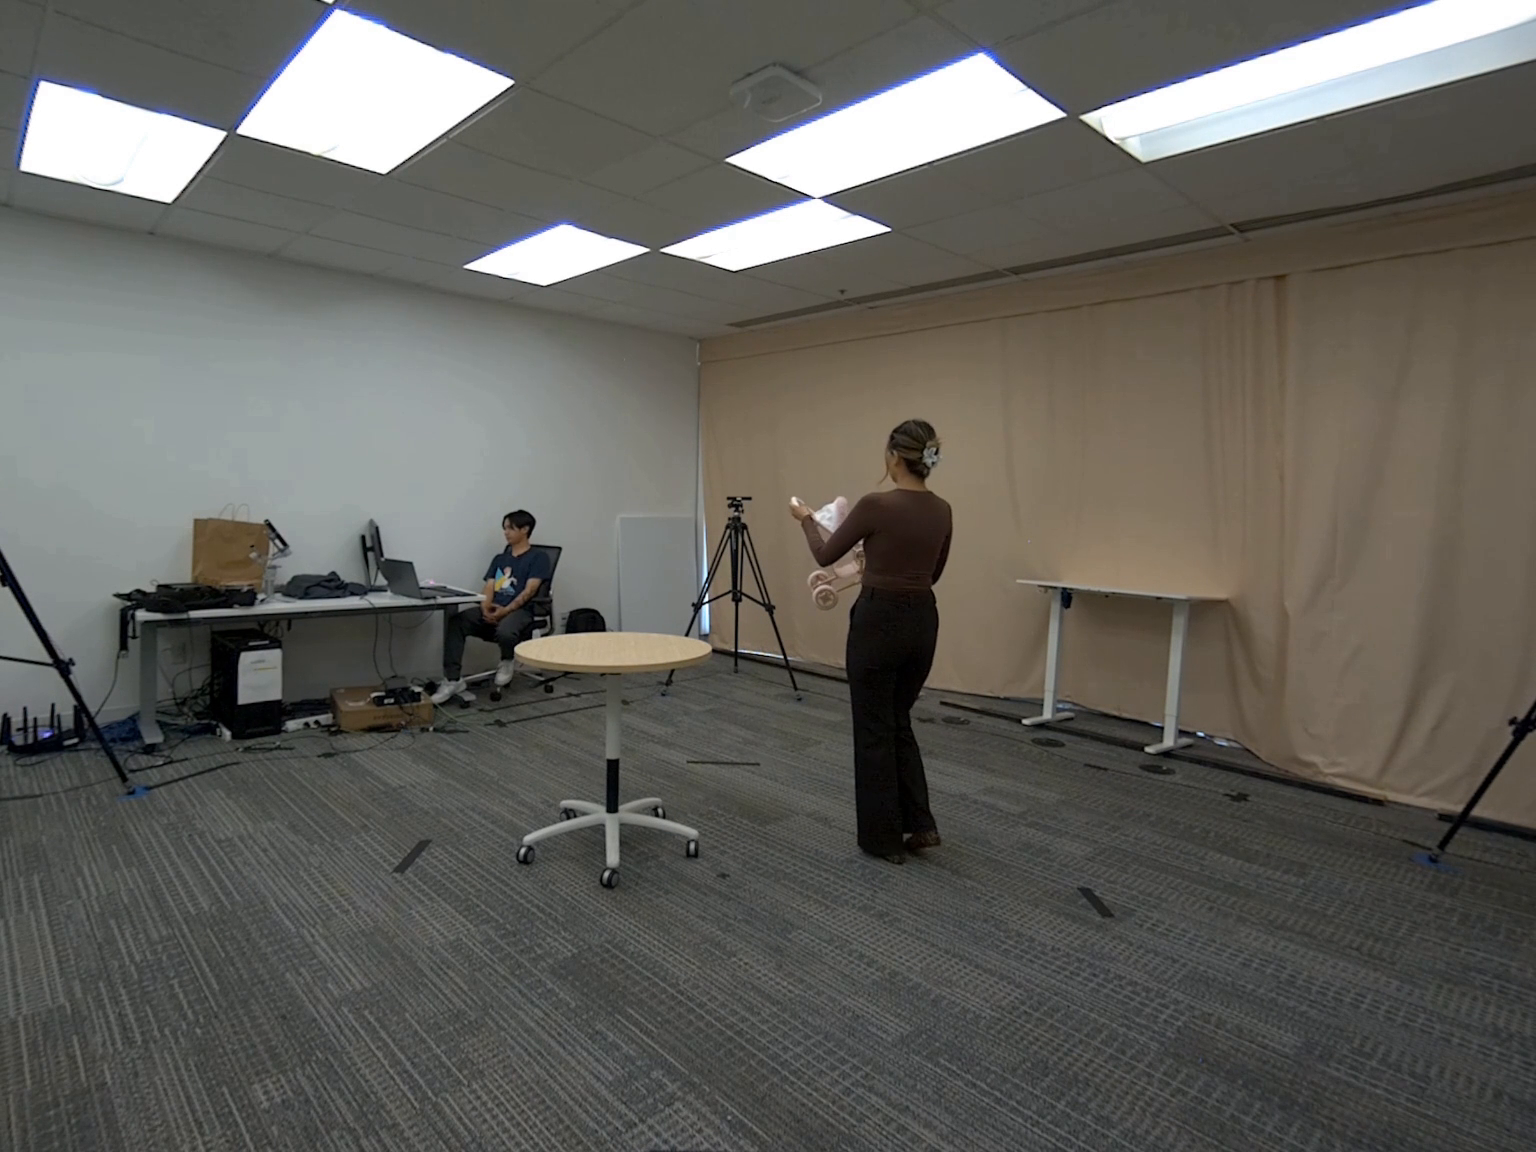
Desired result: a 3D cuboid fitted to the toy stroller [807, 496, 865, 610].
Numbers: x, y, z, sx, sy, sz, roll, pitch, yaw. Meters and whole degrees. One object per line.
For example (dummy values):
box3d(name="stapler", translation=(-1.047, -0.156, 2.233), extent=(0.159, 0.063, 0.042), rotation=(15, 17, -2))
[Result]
box3d(name="toy stroller", translation=(0.315, -0.107, 3.667), extent=(0.343, 0.529, 0.283), rotation=(-10, 13, 6))
